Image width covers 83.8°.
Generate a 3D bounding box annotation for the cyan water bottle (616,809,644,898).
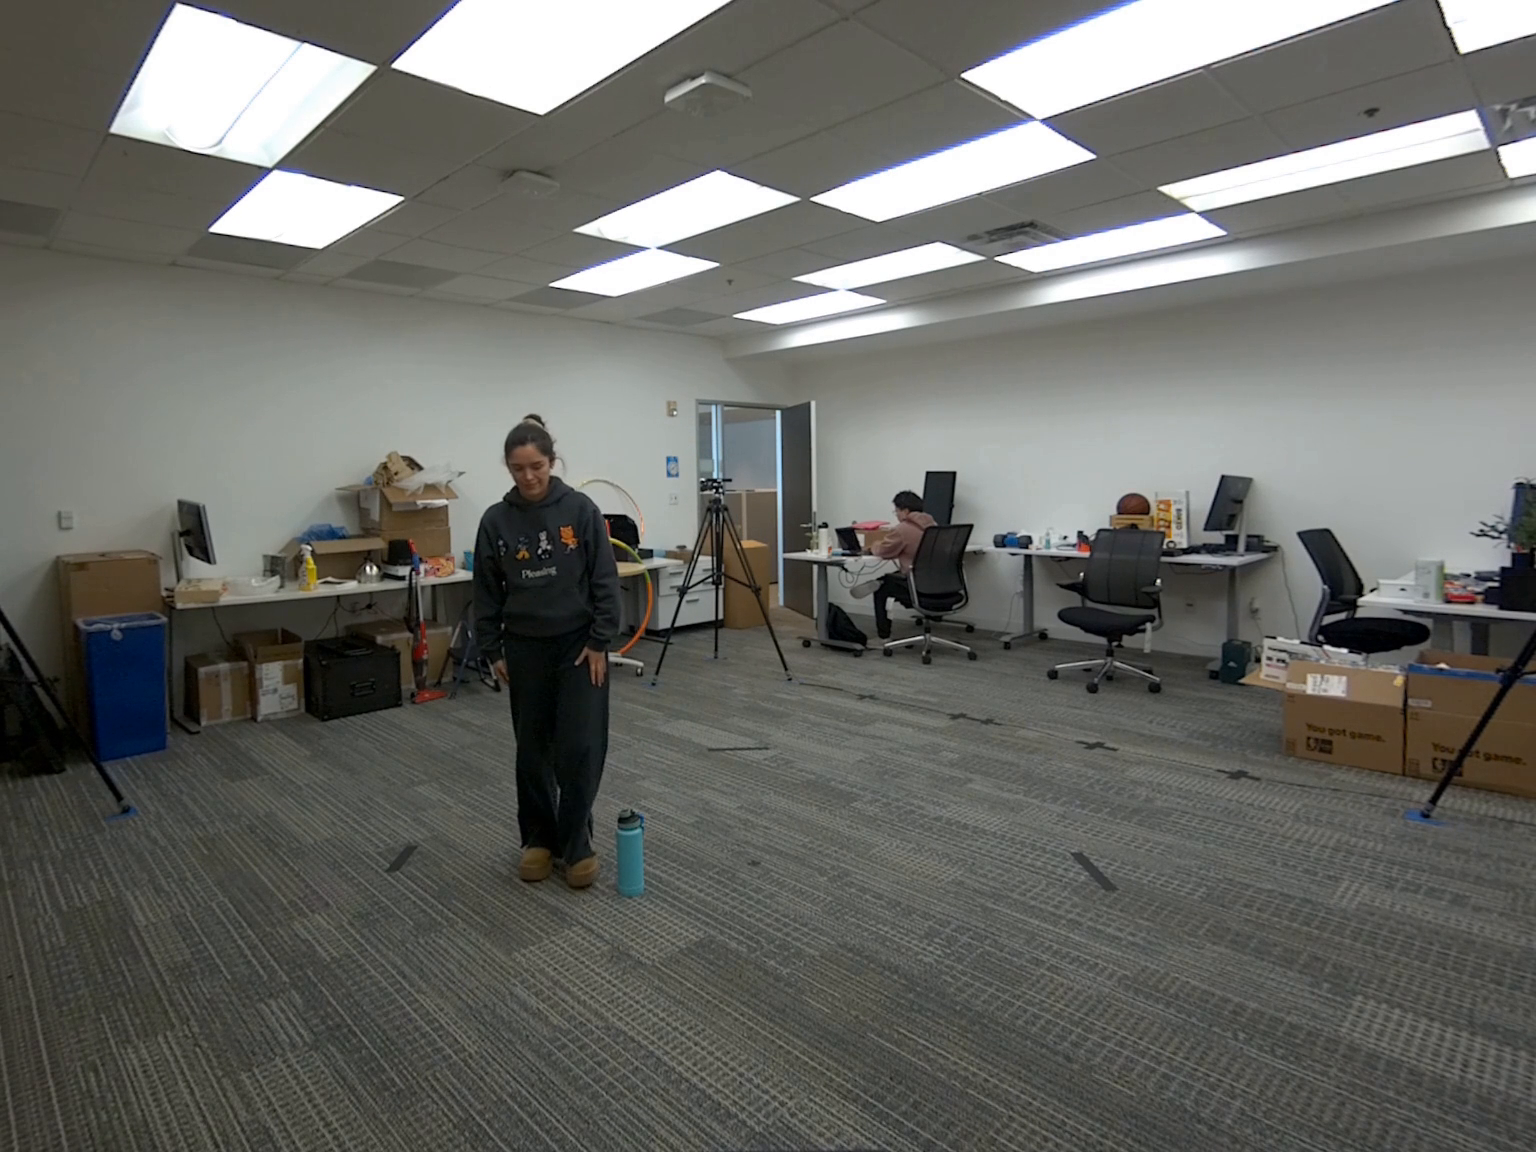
[{"bbox_3d":[-0.469,0.933,2.889,0.092,0.283,0.092,0,3,-2],"label":"cyan water bottle"}]
